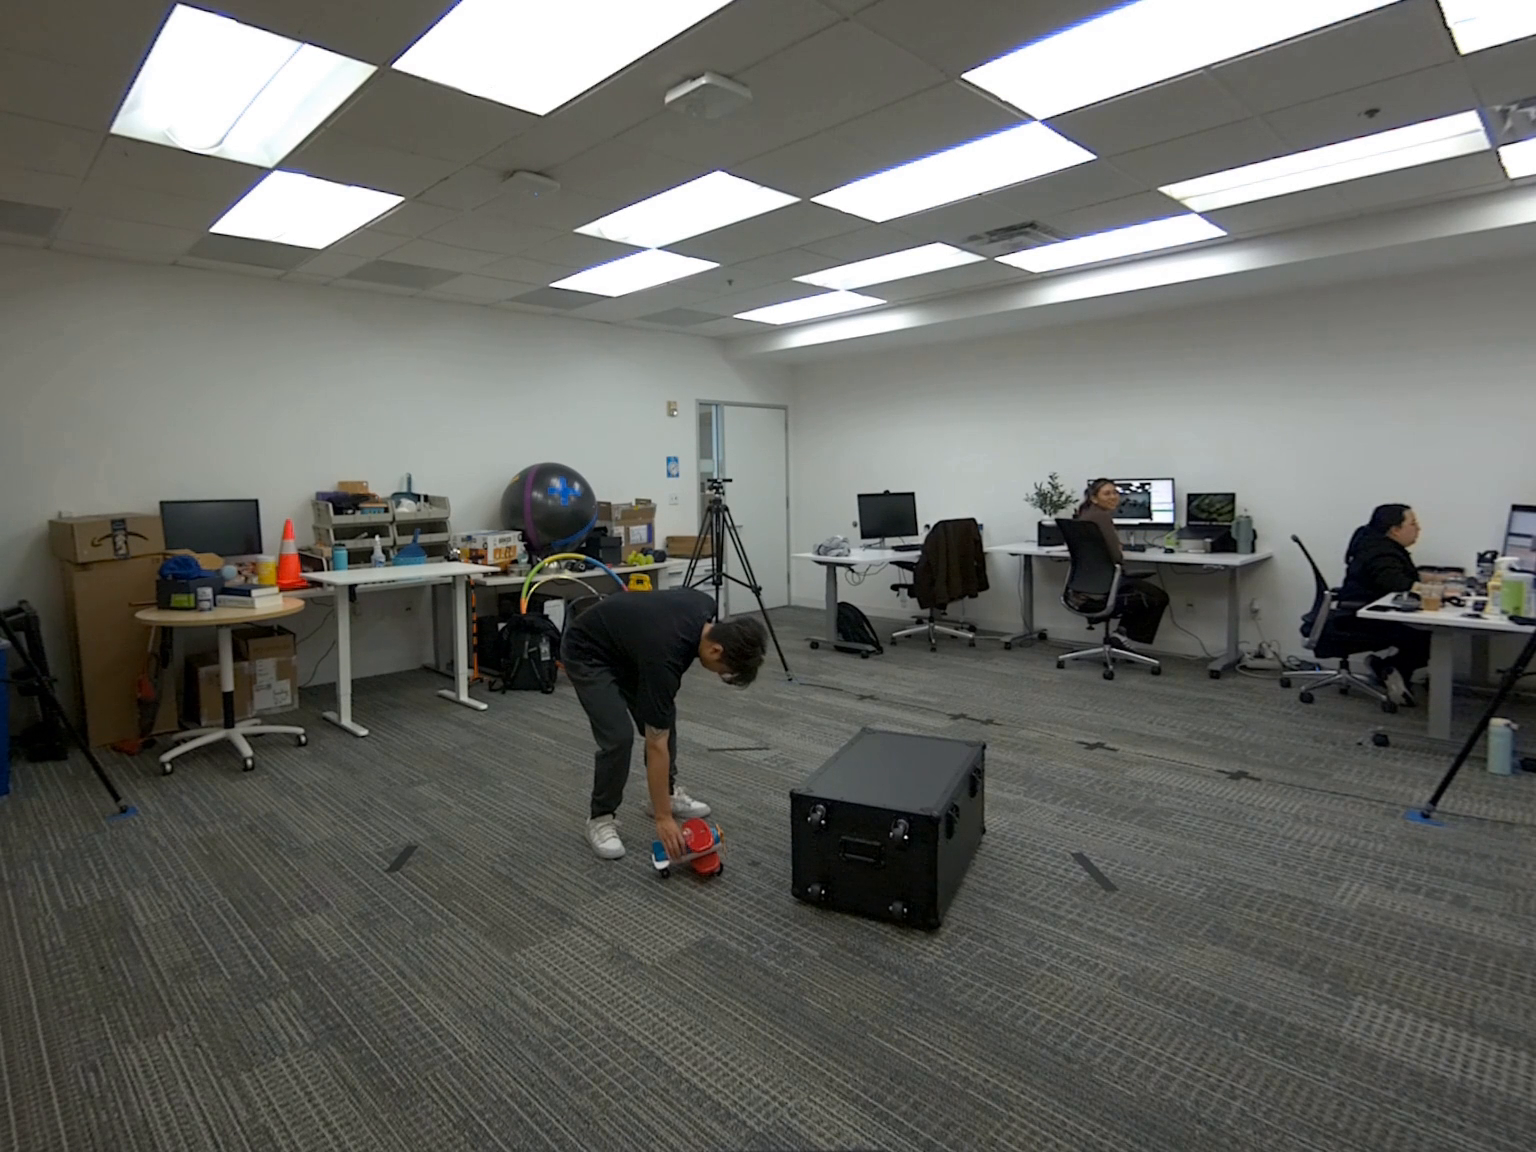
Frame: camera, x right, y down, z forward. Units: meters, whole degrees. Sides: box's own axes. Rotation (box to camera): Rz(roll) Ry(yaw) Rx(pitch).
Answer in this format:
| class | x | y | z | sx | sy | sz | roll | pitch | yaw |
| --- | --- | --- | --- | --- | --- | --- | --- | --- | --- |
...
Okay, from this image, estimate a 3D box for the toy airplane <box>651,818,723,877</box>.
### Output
| class | x | y | z | sx | sy | sz | roll | pitch | yaw |
| --- | --- | --- | --- | --- | --- | --- | --- | --- | --- |
| toy airplane | -0.265 | 0.981 | 3.019 | 0.252 | 0.156 | 0.259 | -6 | 8 | -43 |
